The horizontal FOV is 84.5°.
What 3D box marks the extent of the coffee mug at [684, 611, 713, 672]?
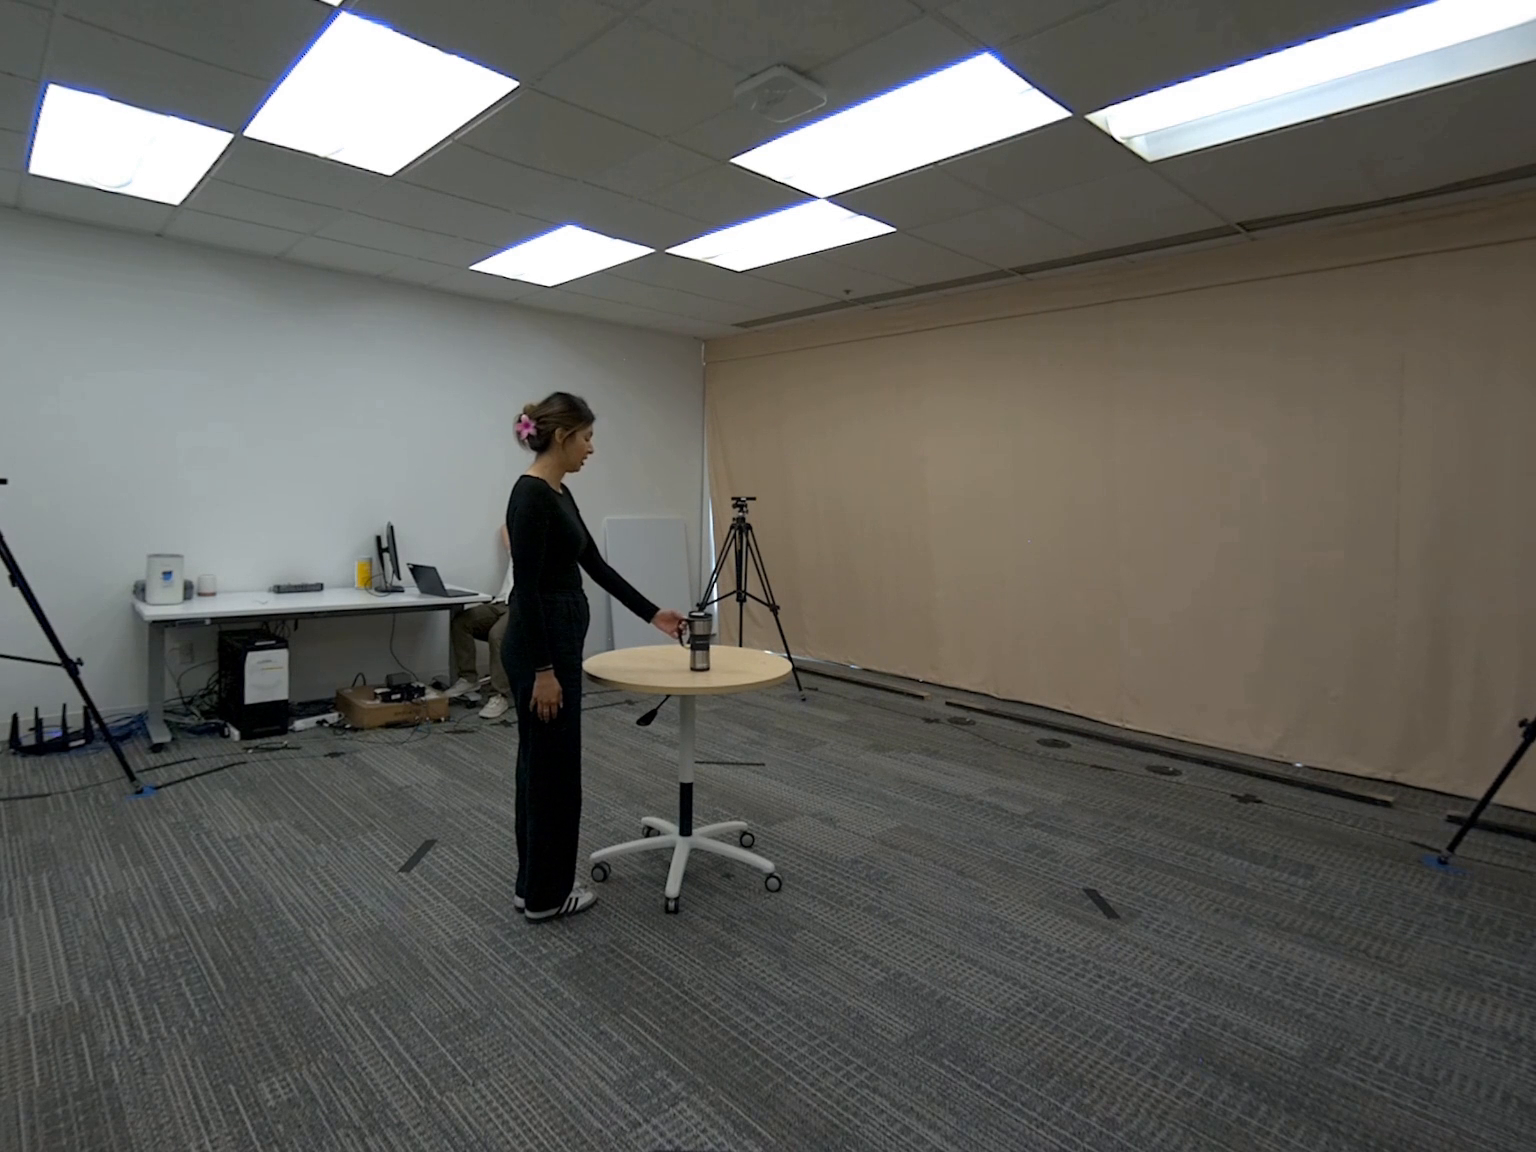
[{"bbox_3d":[-0.264,0.235,2.983,0.124,0.202,0.087,6,10,26],"label":"coffee mug"}]
